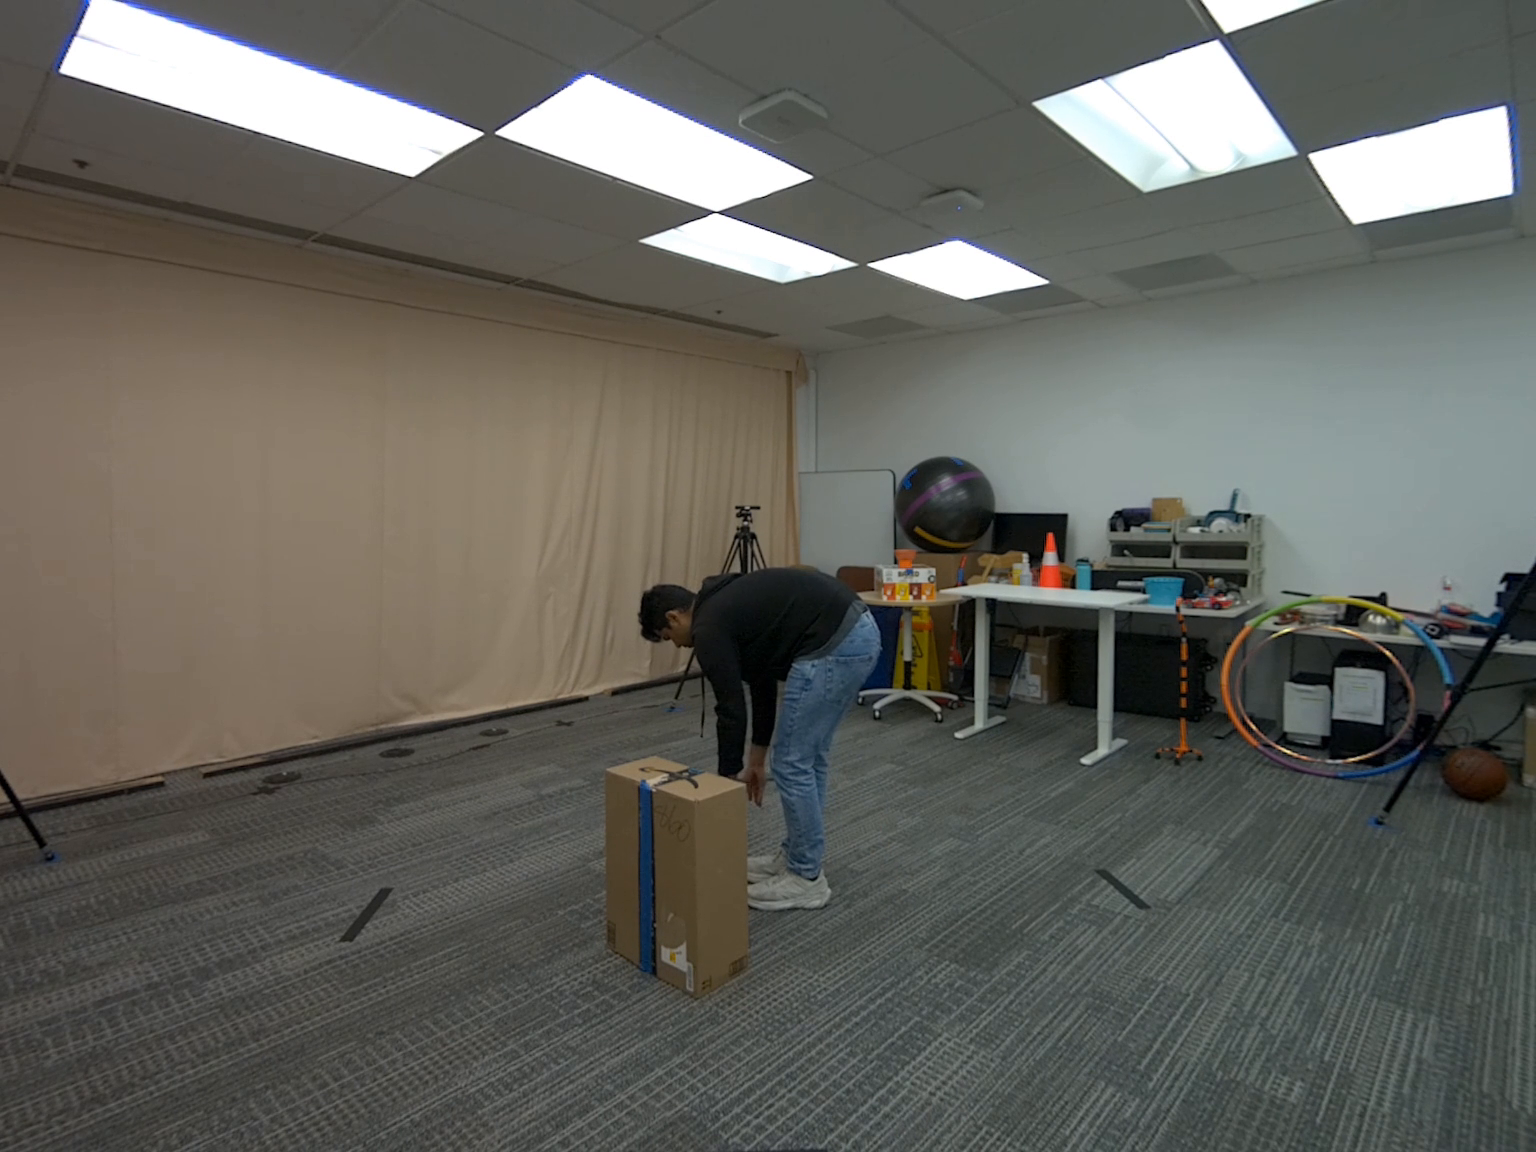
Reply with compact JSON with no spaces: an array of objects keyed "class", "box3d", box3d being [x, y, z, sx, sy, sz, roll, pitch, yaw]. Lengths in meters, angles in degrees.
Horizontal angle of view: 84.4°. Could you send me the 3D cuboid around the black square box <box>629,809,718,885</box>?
[{"class":"black square box","box3d":[-0.362,1.022,3.223,0.222,0.155,0.224,-13,7,-43]}]
